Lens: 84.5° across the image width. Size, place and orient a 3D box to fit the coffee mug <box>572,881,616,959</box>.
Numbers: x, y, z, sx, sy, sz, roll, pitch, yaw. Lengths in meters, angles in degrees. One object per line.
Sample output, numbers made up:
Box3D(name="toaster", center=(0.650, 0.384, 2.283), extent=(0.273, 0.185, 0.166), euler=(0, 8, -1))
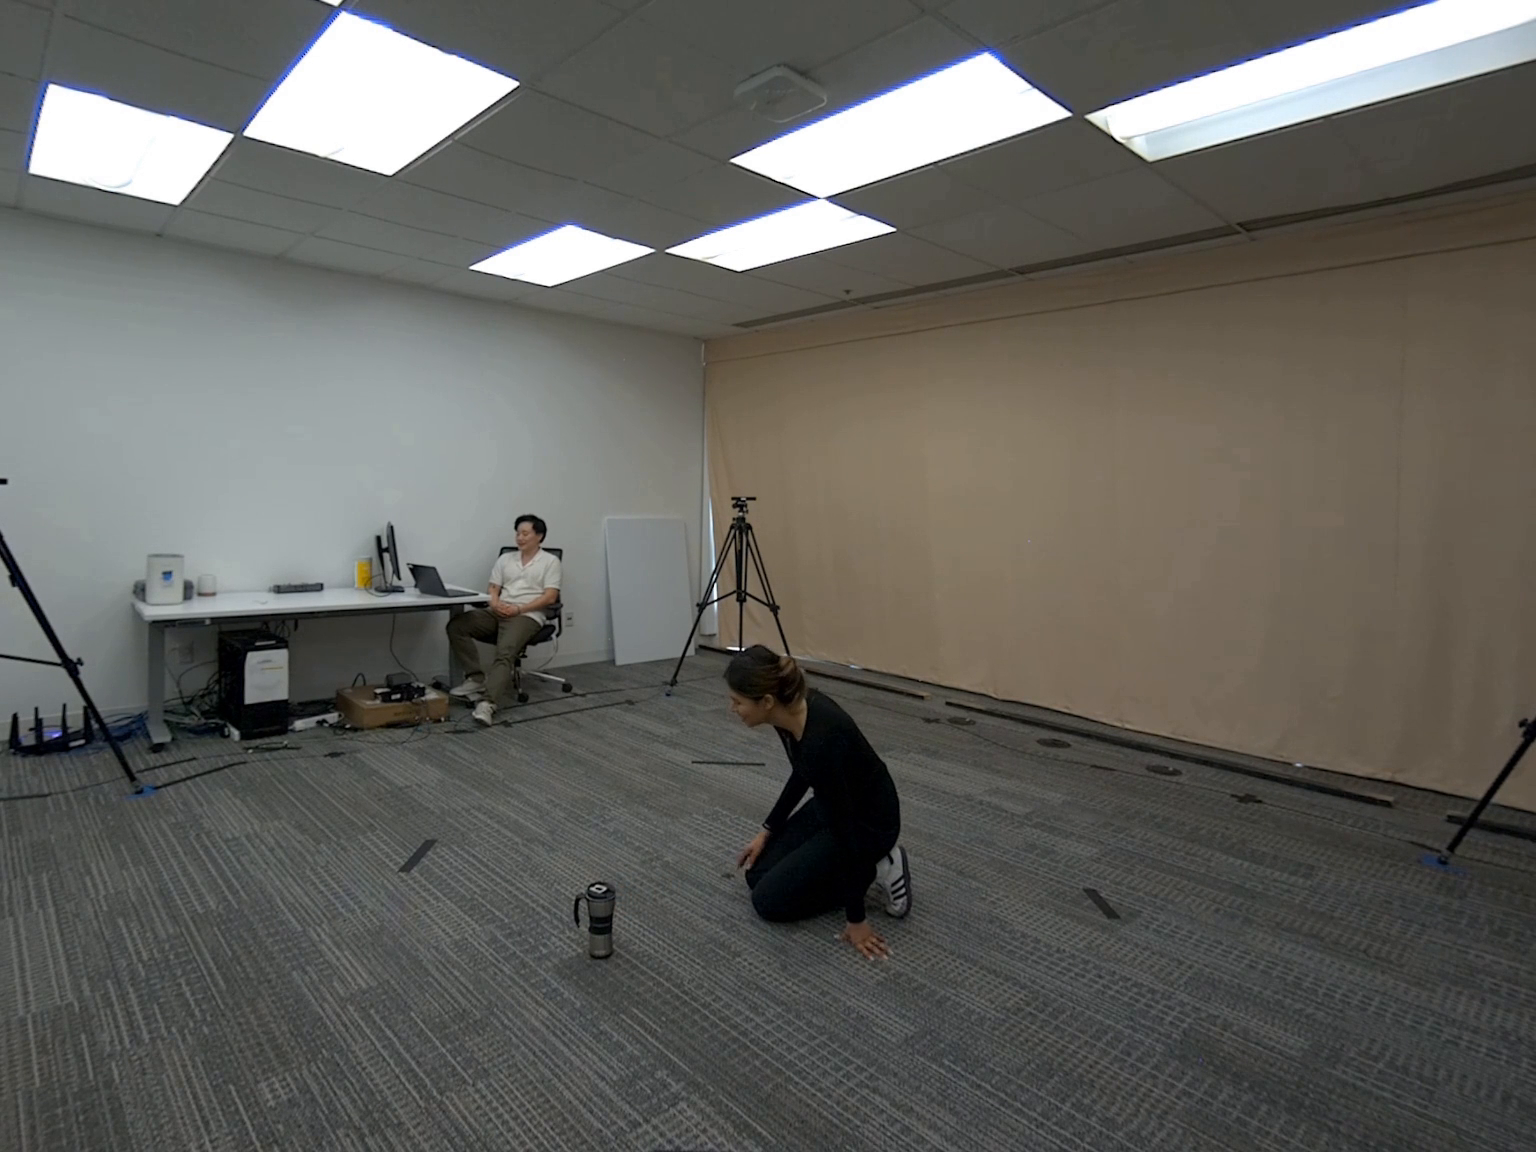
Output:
Box3D(name="coffee mug", center=(-0.530, 1.053, 2.553), extent=(0.124, 0.202, 0.087), euler=(5, 8, 23))
